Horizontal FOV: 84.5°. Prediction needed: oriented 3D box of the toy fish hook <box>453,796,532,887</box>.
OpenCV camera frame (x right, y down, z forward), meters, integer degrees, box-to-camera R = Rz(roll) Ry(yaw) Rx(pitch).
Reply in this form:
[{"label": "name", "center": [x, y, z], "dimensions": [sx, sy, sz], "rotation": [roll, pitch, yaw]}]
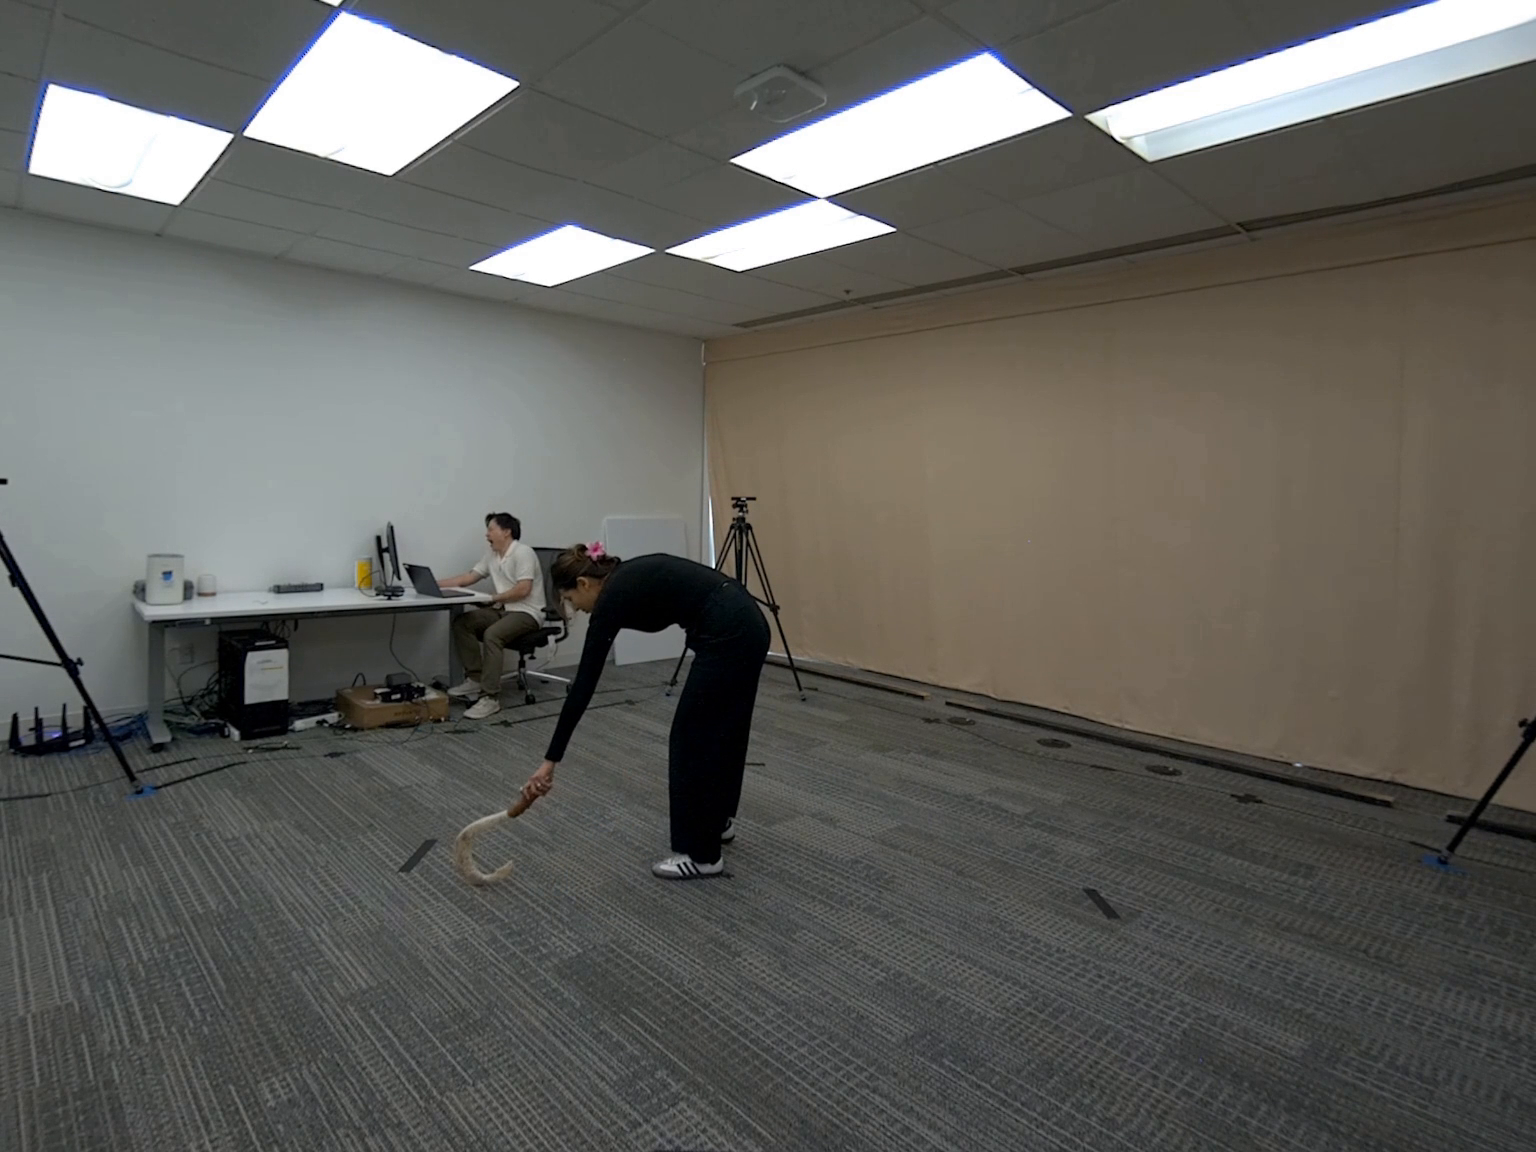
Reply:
[{"label": "toy fish hook", "center": [-0.905, 0.901, 2.939], "dimensions": [0.507, 0.226, 0.048], "rotation": [-42, -6, 16]}]
